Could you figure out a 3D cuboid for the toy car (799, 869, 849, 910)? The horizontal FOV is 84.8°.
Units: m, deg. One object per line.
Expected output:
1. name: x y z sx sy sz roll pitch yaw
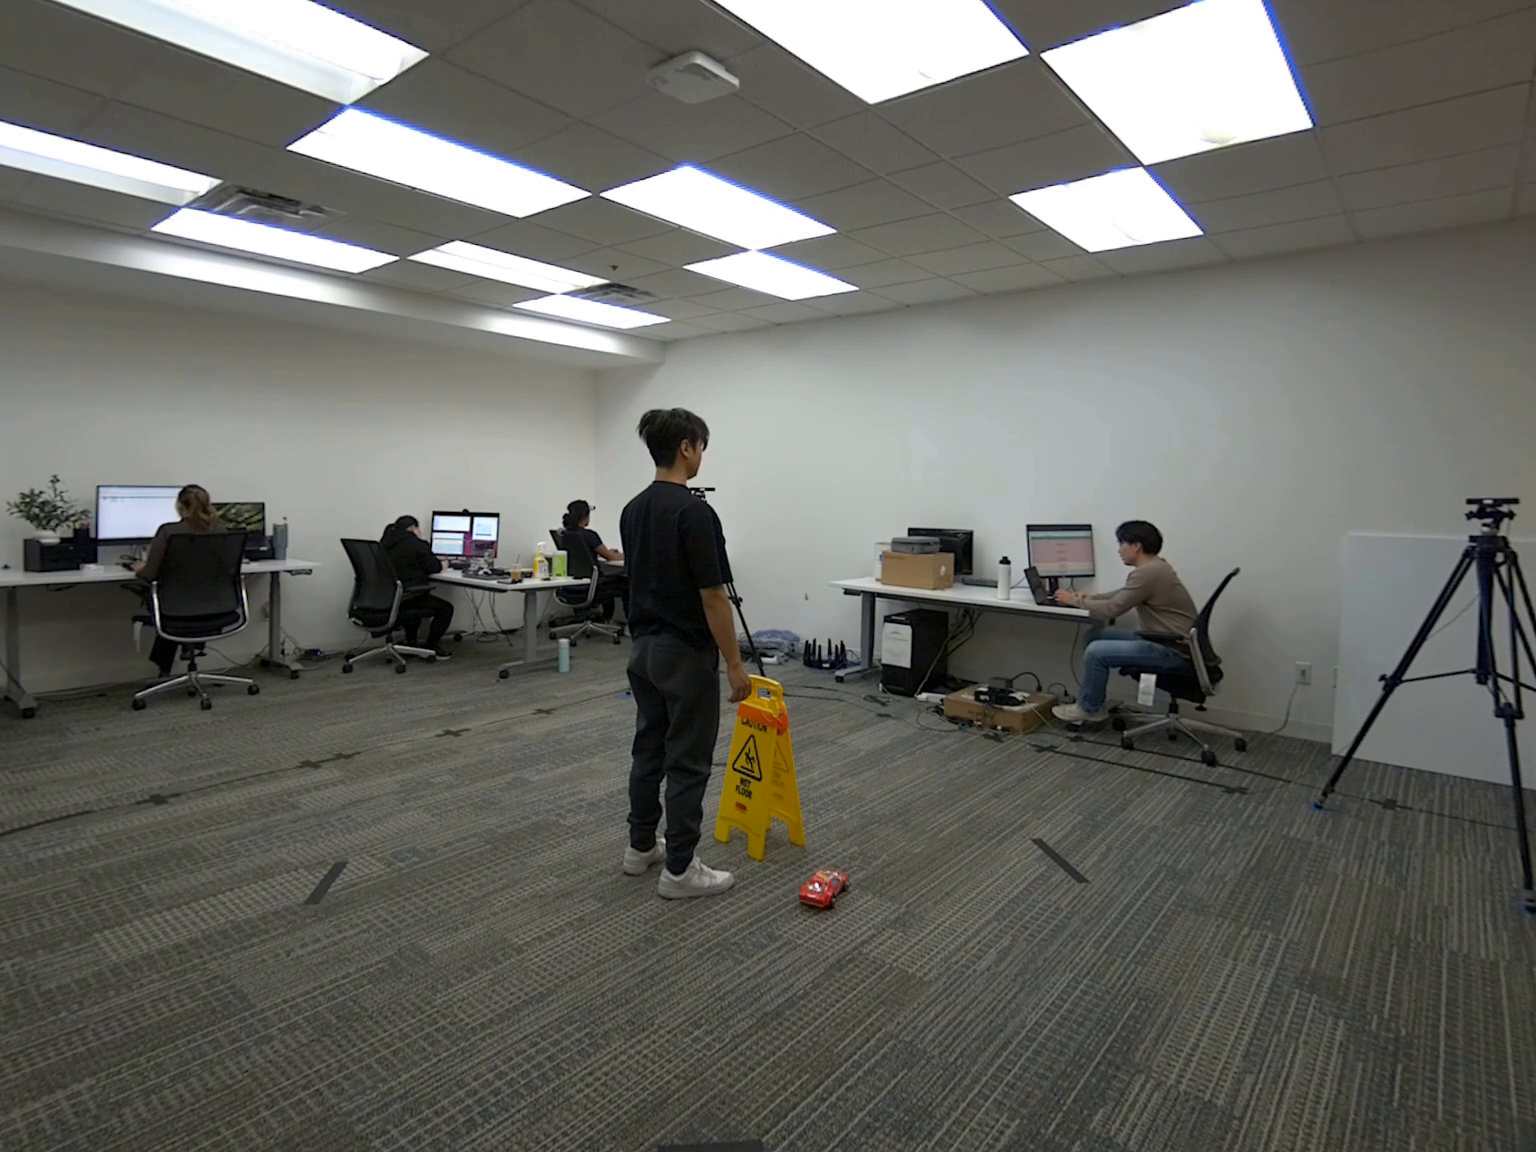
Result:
1. toy car: 0.182 1.067 2.900 0.134 0.083 0.247 4 -4 25
